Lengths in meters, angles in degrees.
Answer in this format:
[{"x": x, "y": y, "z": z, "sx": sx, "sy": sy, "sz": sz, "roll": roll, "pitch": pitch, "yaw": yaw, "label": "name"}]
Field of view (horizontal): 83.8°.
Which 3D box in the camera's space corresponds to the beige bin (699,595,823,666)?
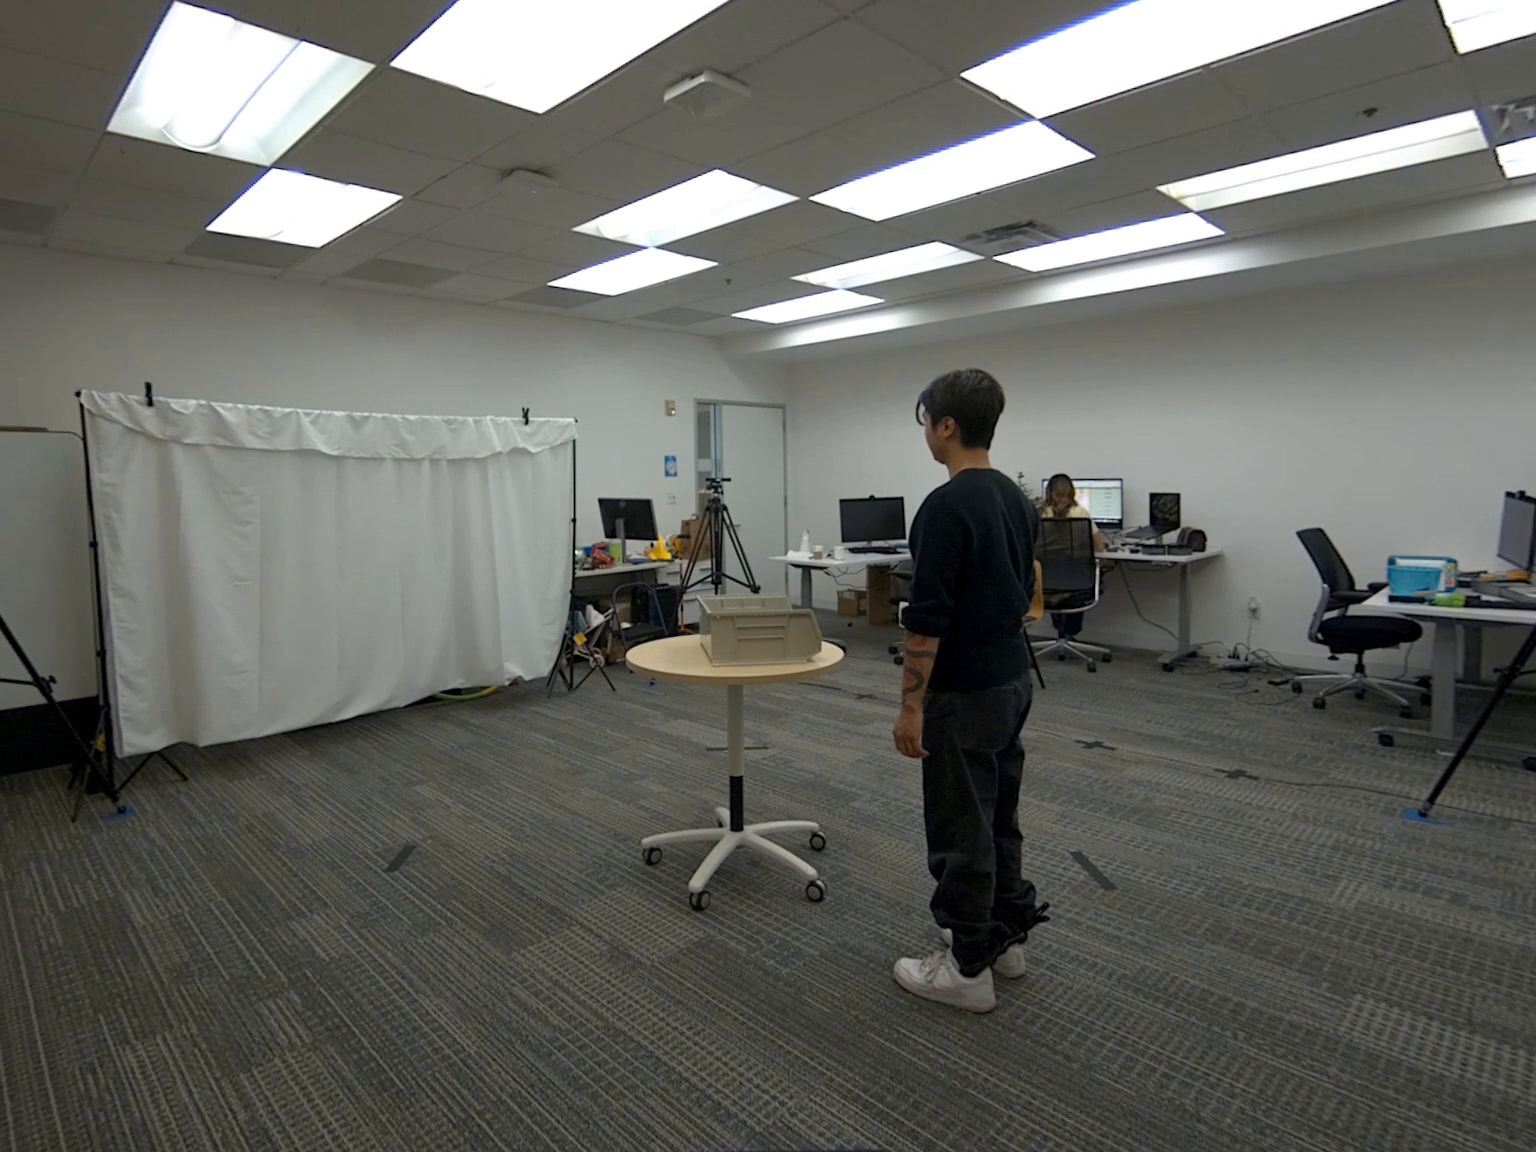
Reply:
[{"x": -0.039, "y": 0.180, "z": 3.005, "sx": 0.374, "sy": 0.188, "sz": 0.428, "roll": -2, "pitch": 6, "yaw": -9, "label": "beige bin"}]
